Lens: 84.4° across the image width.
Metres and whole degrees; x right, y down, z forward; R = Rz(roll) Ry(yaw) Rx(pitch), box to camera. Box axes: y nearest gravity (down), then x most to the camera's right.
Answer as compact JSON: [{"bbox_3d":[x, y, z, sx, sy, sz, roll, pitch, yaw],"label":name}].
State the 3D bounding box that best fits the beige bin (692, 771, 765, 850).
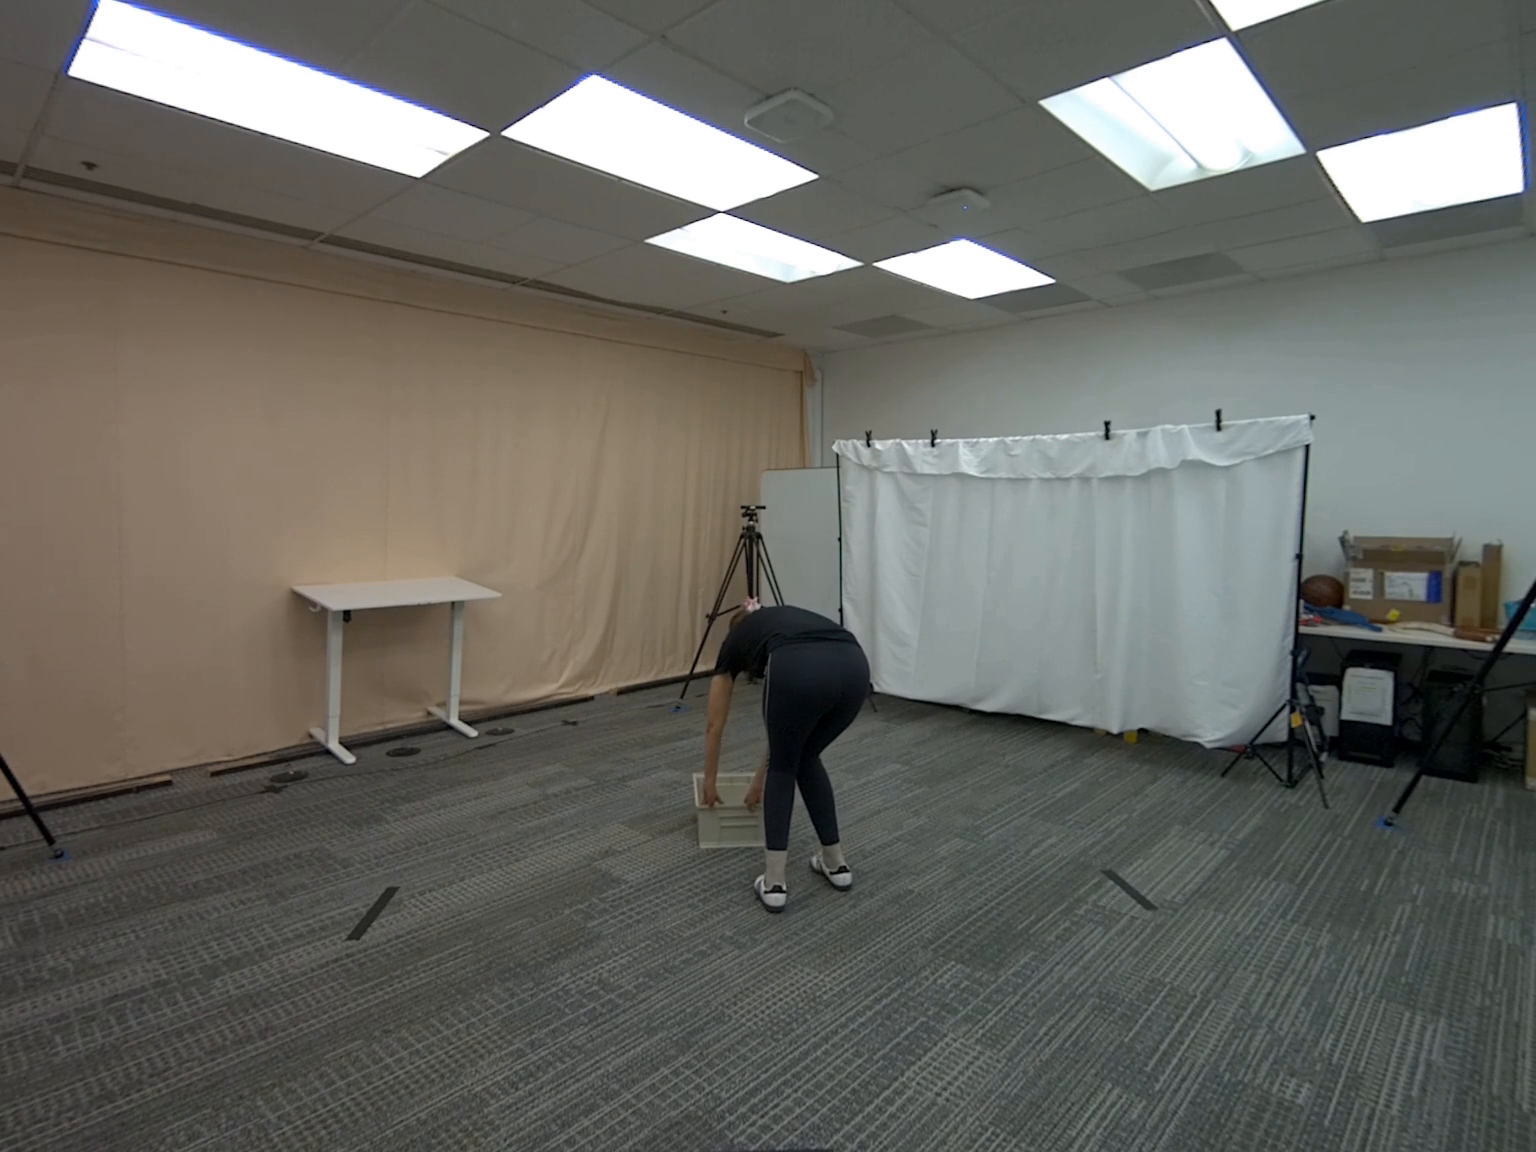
[{"bbox_3d":[-0.130,1.000,3.636,0.375,0.188,0.426,-1,6,-6],"label":"beige bin"}]
